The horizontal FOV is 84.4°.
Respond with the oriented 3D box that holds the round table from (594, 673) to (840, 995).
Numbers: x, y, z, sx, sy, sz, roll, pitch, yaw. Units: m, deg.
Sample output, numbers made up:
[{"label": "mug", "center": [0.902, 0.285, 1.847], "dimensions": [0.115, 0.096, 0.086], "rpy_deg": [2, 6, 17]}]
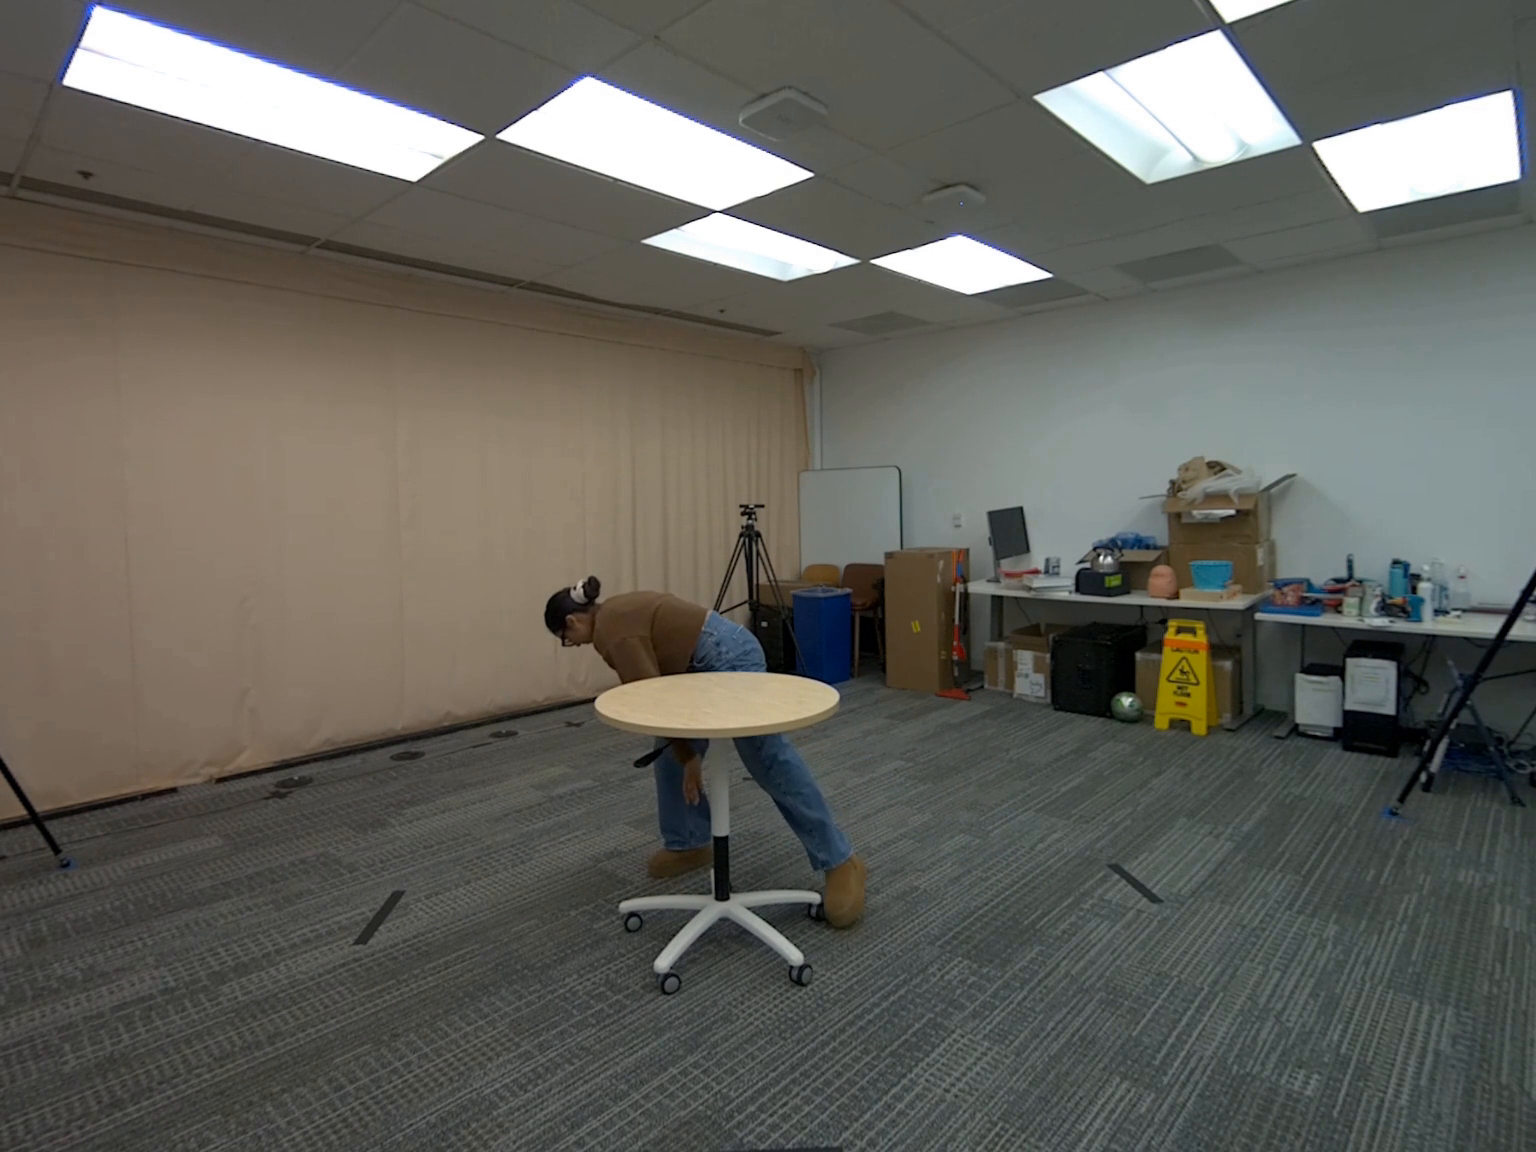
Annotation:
[{"label": "round table", "center": [-0.151, 0.781, 2.666], "dimensions": [0.763, 0.792, 0.766], "rpy_deg": [-2, 4, -2]}]
